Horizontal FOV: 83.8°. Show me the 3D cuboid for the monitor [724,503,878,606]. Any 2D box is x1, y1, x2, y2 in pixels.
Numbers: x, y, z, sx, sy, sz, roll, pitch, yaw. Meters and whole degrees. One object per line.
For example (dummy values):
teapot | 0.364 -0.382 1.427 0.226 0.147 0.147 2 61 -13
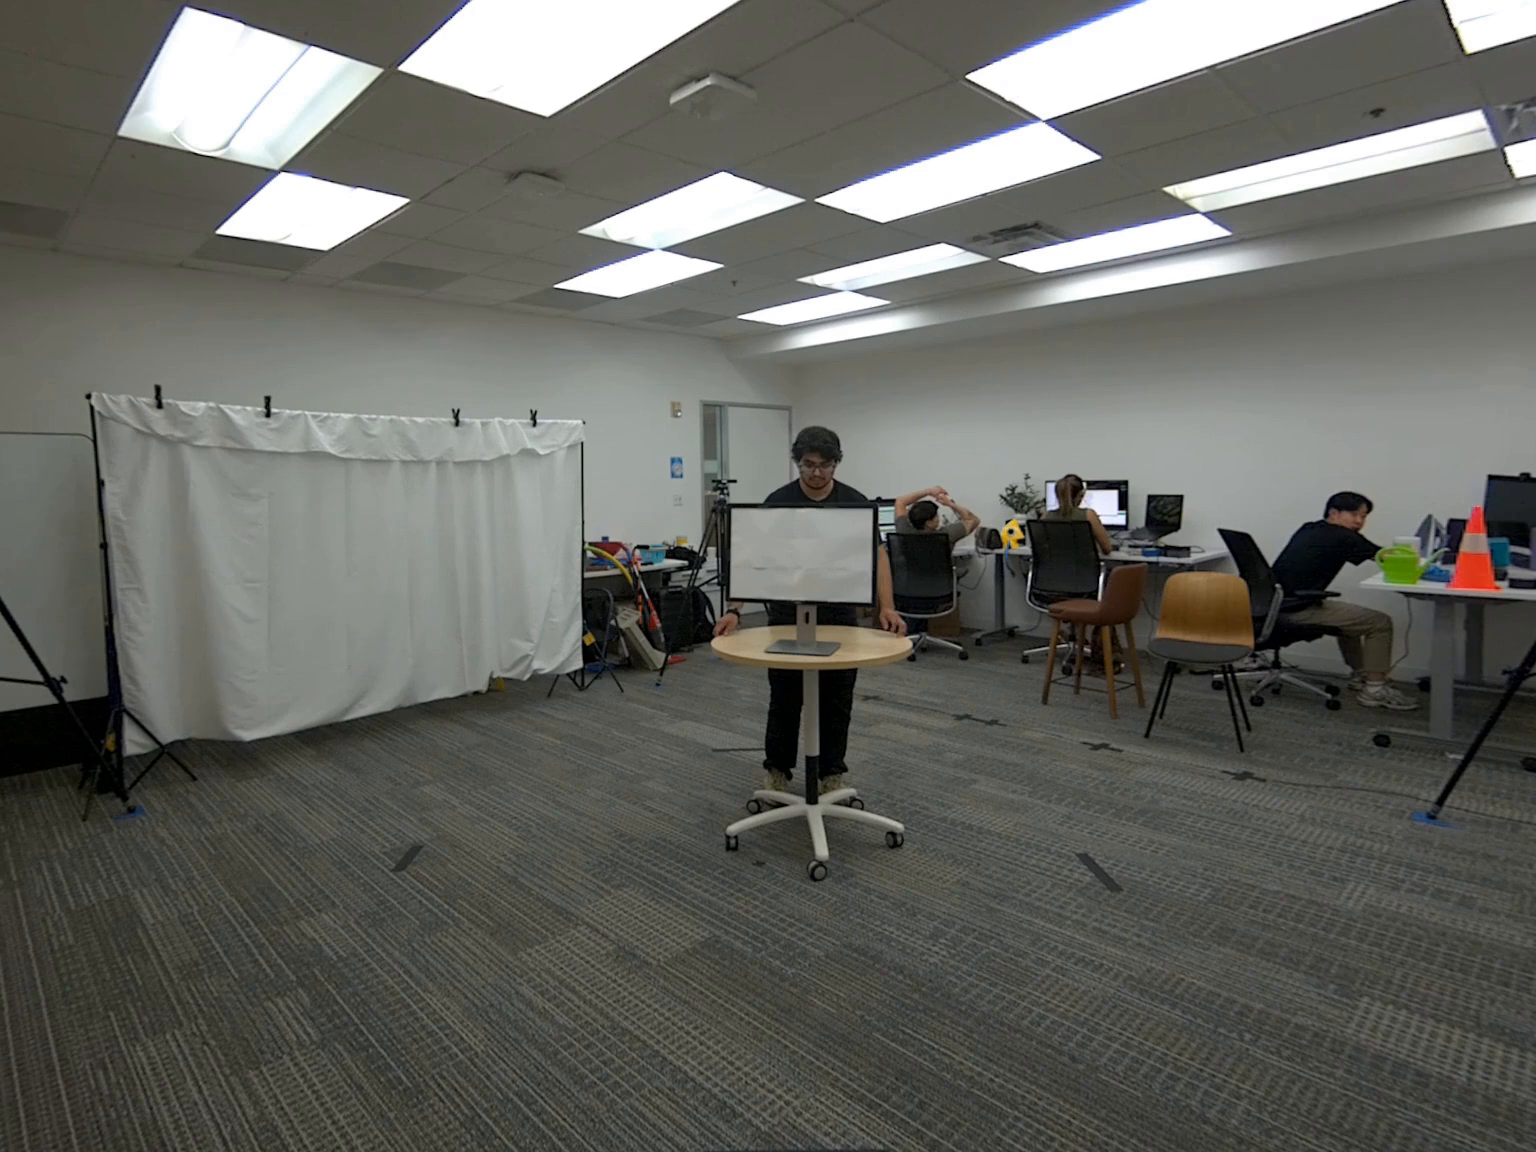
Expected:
monitor | 0.134 0.010 3.128 0.576 0.553 0.206 1 1 21
